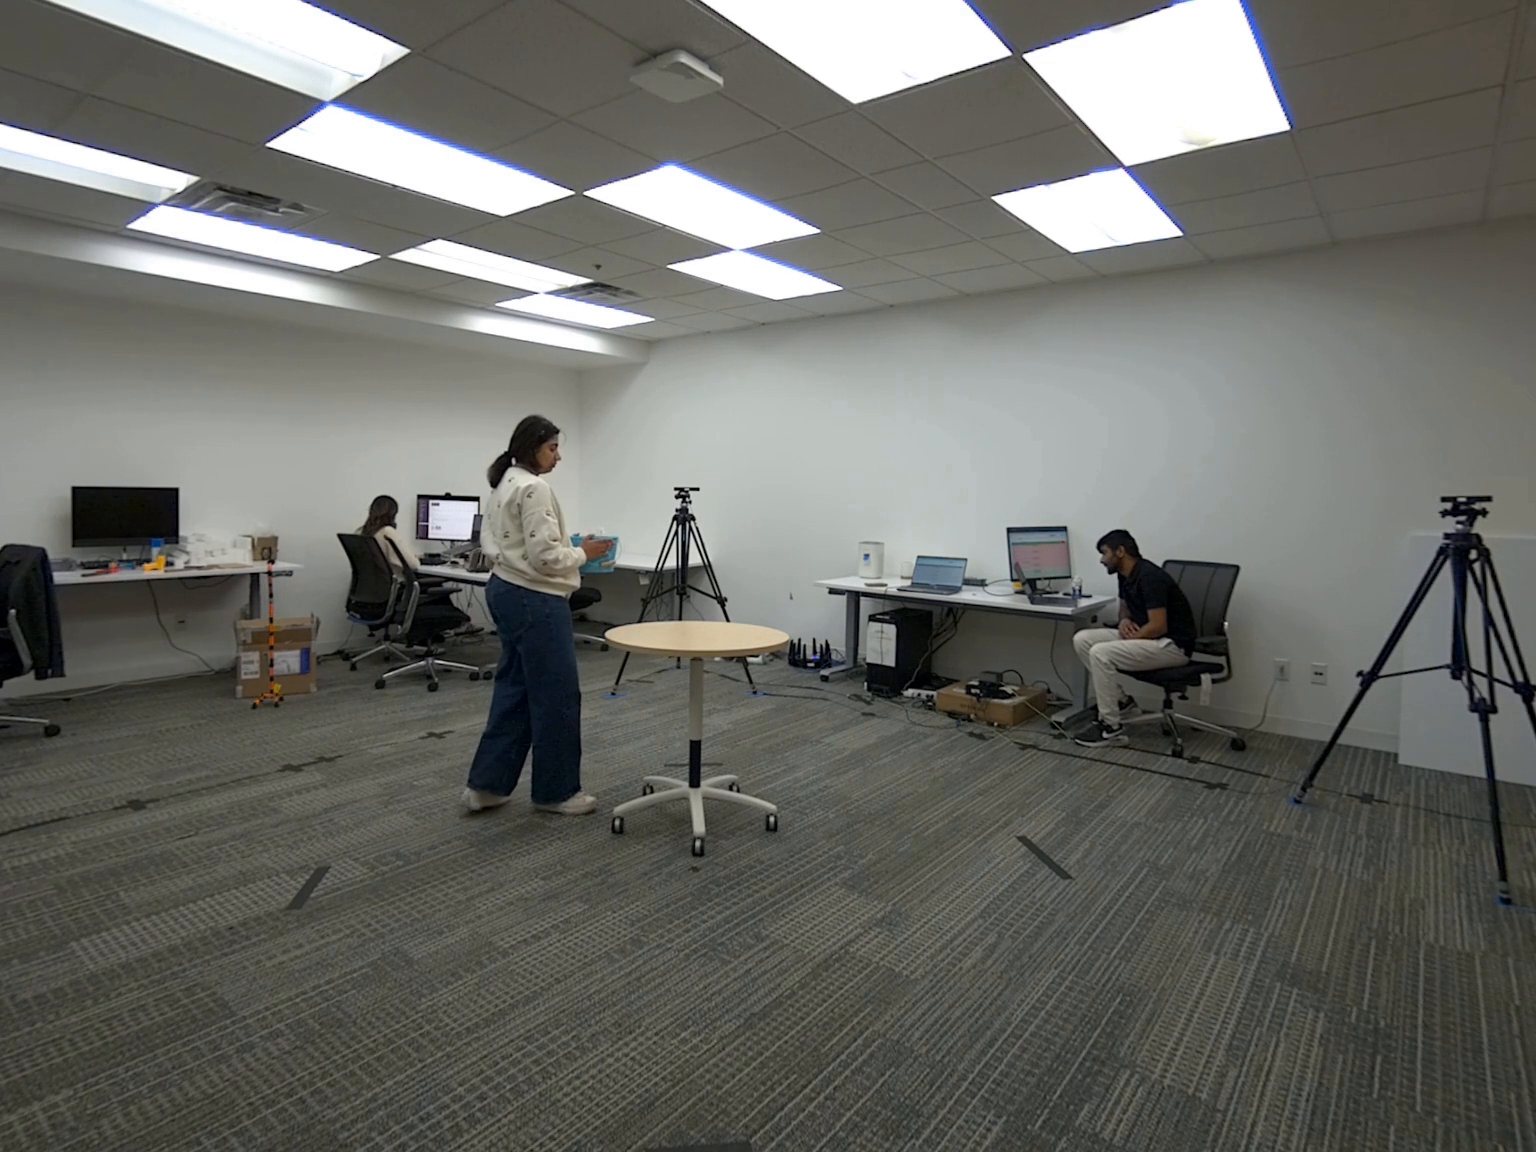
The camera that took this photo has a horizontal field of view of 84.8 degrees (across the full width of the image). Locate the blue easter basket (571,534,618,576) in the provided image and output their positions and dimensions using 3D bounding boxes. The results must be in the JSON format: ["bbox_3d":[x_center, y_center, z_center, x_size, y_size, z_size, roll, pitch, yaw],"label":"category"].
[{"bbox_3d":[-0.806,-0.098,3.794,0.243,0.155,0.244,-1,4,-2],"label":"blue easter basket"}]
